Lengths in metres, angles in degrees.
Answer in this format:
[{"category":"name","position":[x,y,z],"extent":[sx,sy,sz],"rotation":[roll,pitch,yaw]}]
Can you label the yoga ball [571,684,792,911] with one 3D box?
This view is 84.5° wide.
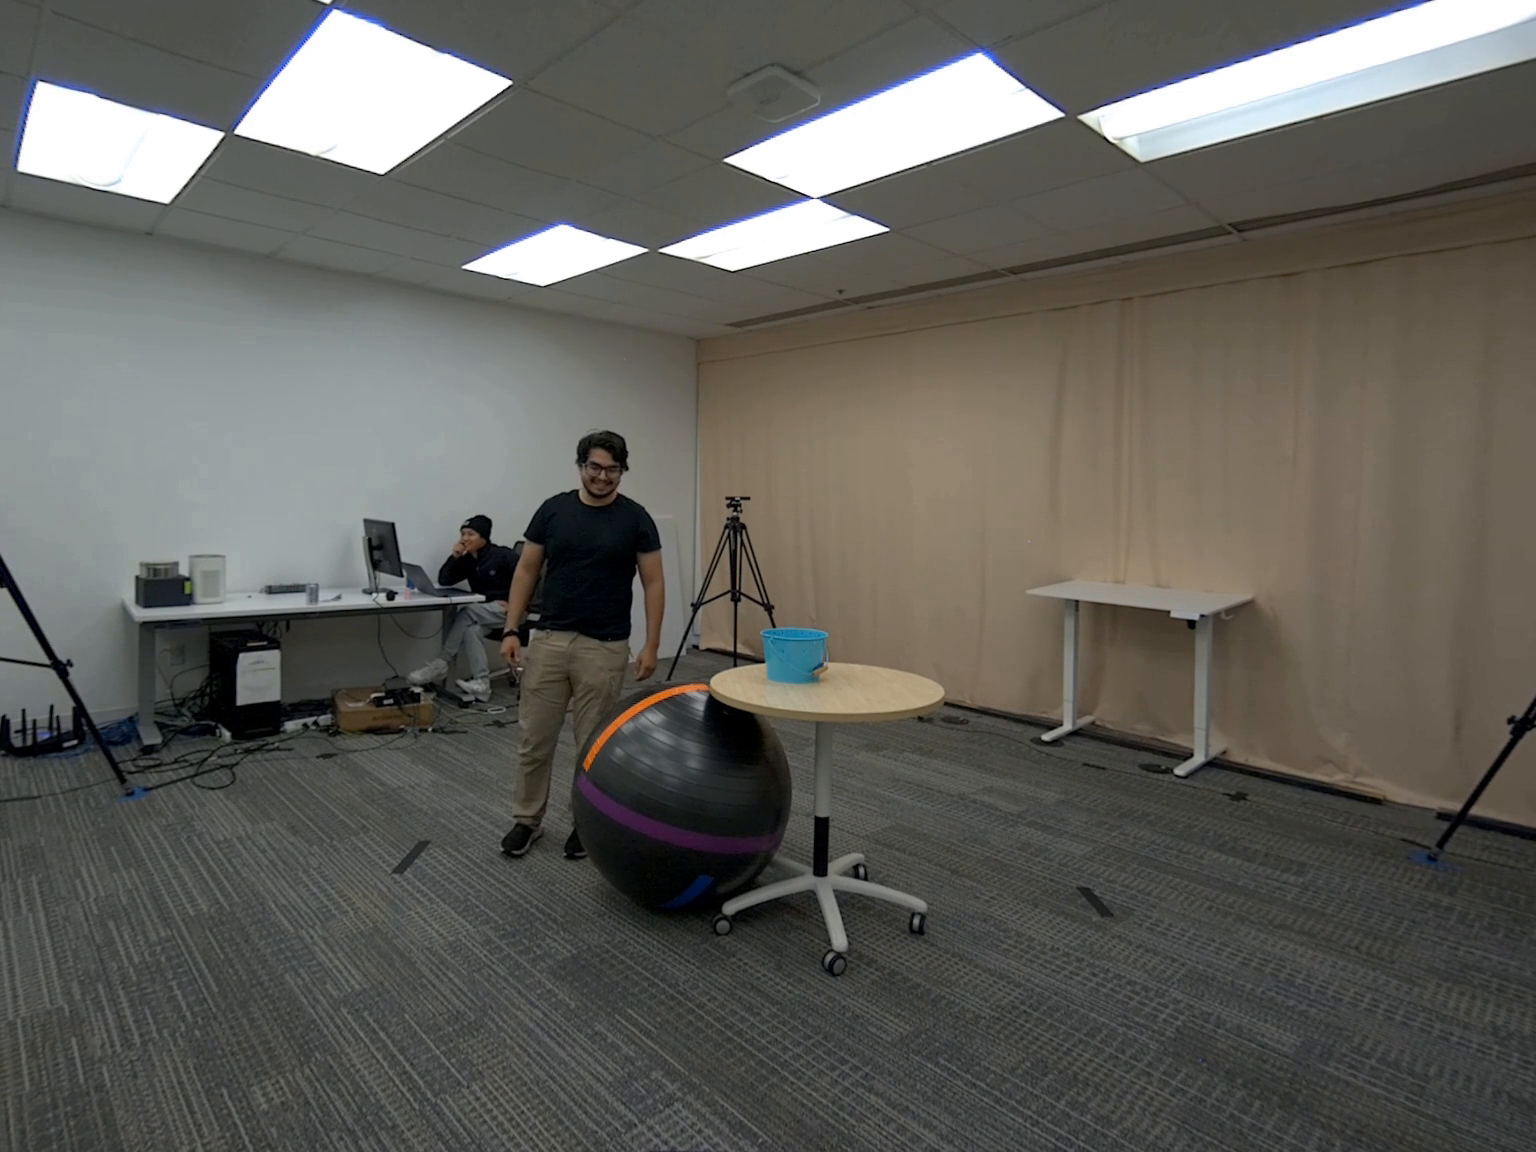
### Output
[{"category":"yoga ball","position":[-0.307,0.754,2.932],"extent":[0.757,0.756,0.761],"rotation":[1,4,-1]}]
